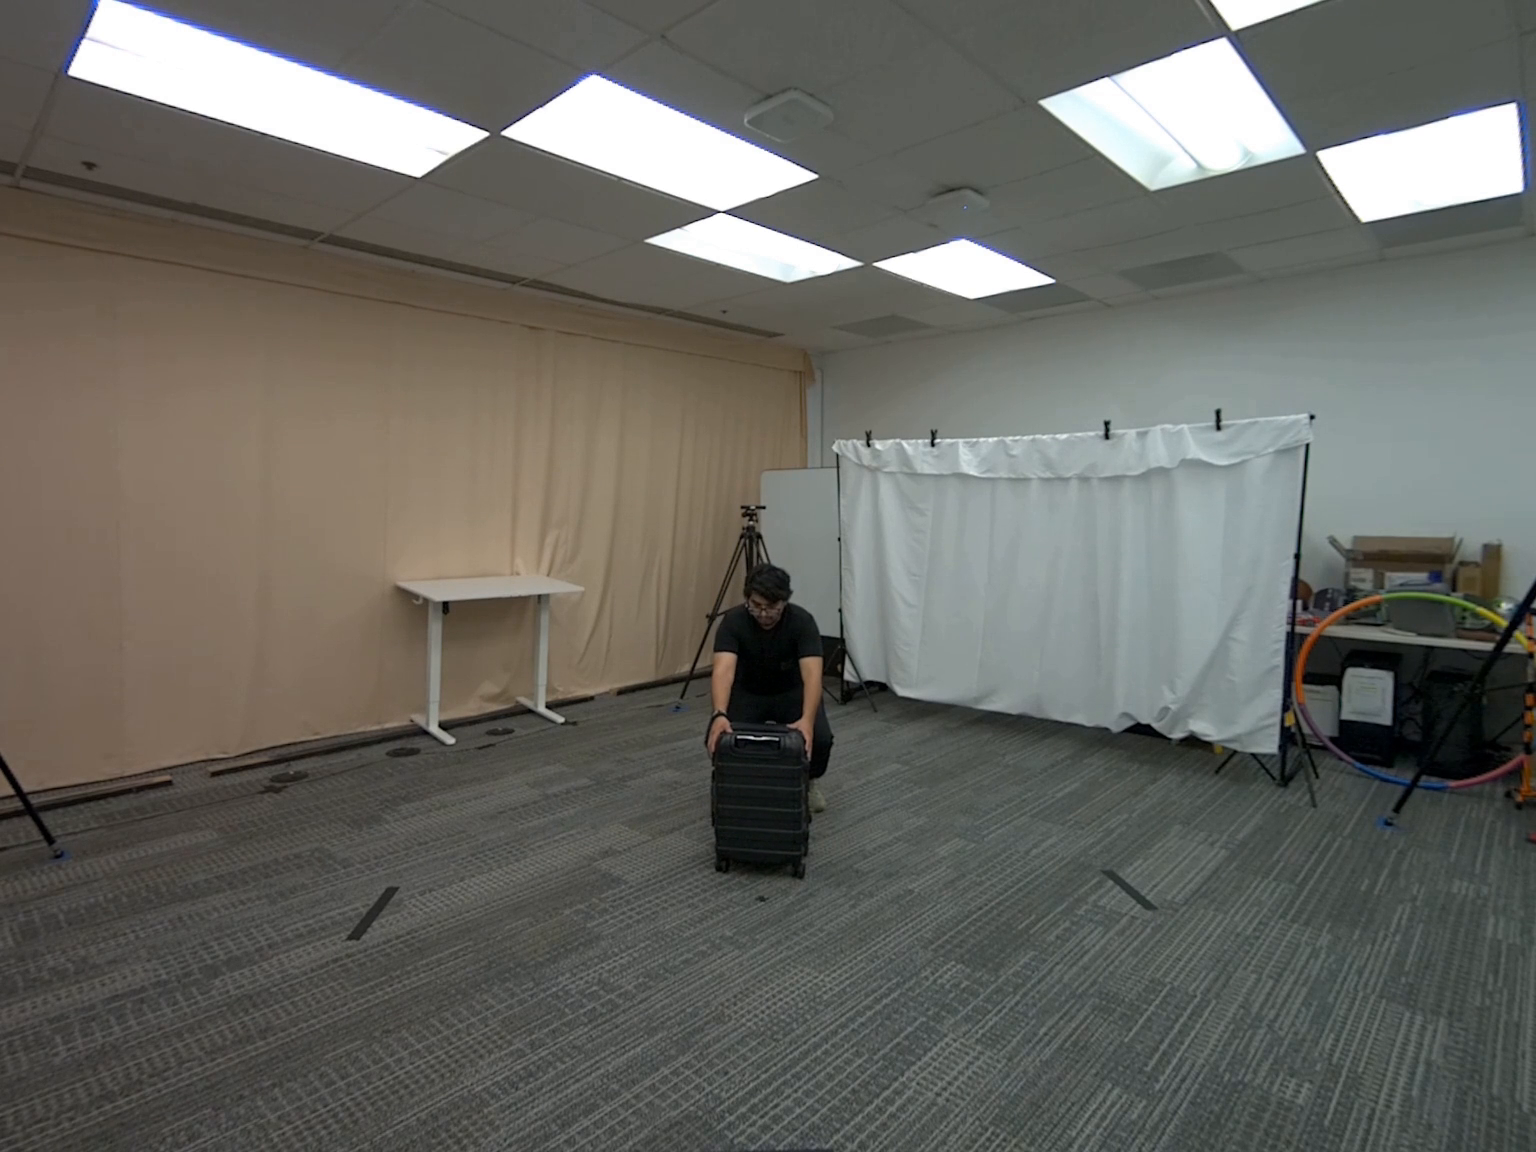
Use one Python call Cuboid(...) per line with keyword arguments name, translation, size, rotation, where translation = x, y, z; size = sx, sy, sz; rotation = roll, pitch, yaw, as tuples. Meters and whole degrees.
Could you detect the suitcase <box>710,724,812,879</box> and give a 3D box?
Cuboid(name="suitcase", translation=(-0.025, 0.844, 3.263), size=(0.379, 0.548, 0.246), rotation=(0, 4, 9))
